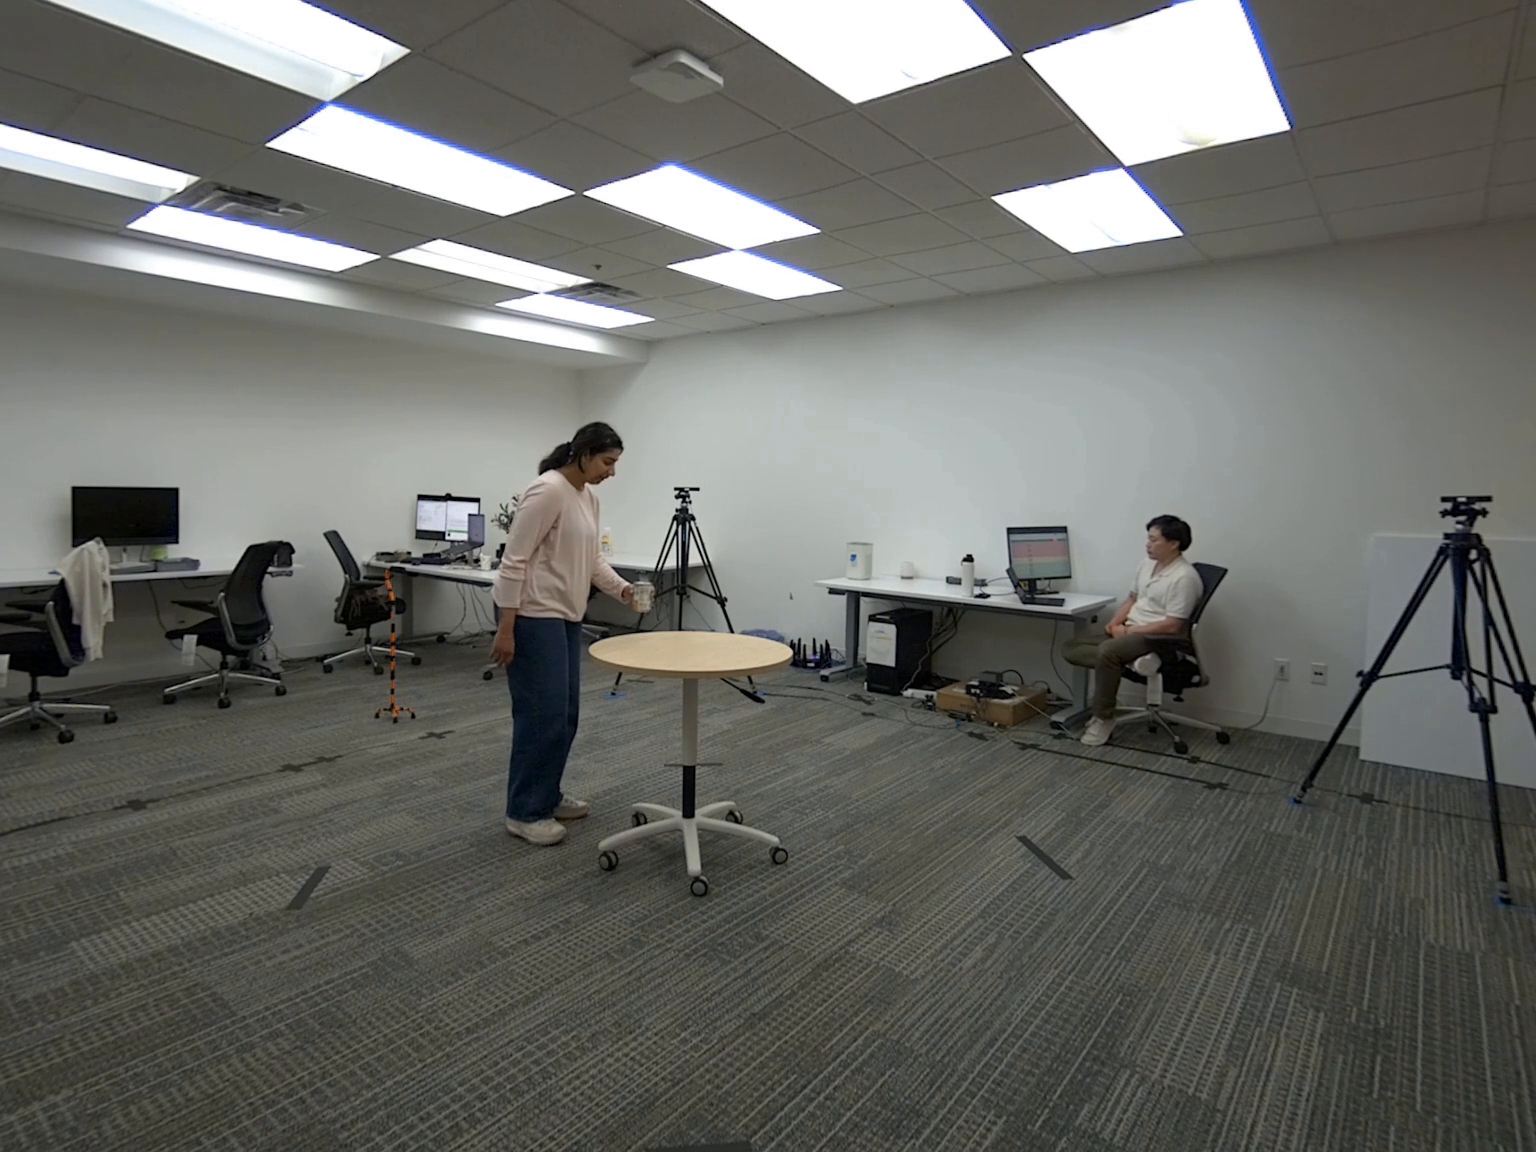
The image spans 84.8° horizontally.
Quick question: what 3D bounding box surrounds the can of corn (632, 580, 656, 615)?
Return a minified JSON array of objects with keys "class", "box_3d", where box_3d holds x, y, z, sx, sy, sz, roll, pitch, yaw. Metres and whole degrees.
[{"class":"can of corn","box_3d":[-0.531,0.083,3.443,0.074,0.110,0.075,1,7,-2]}]
